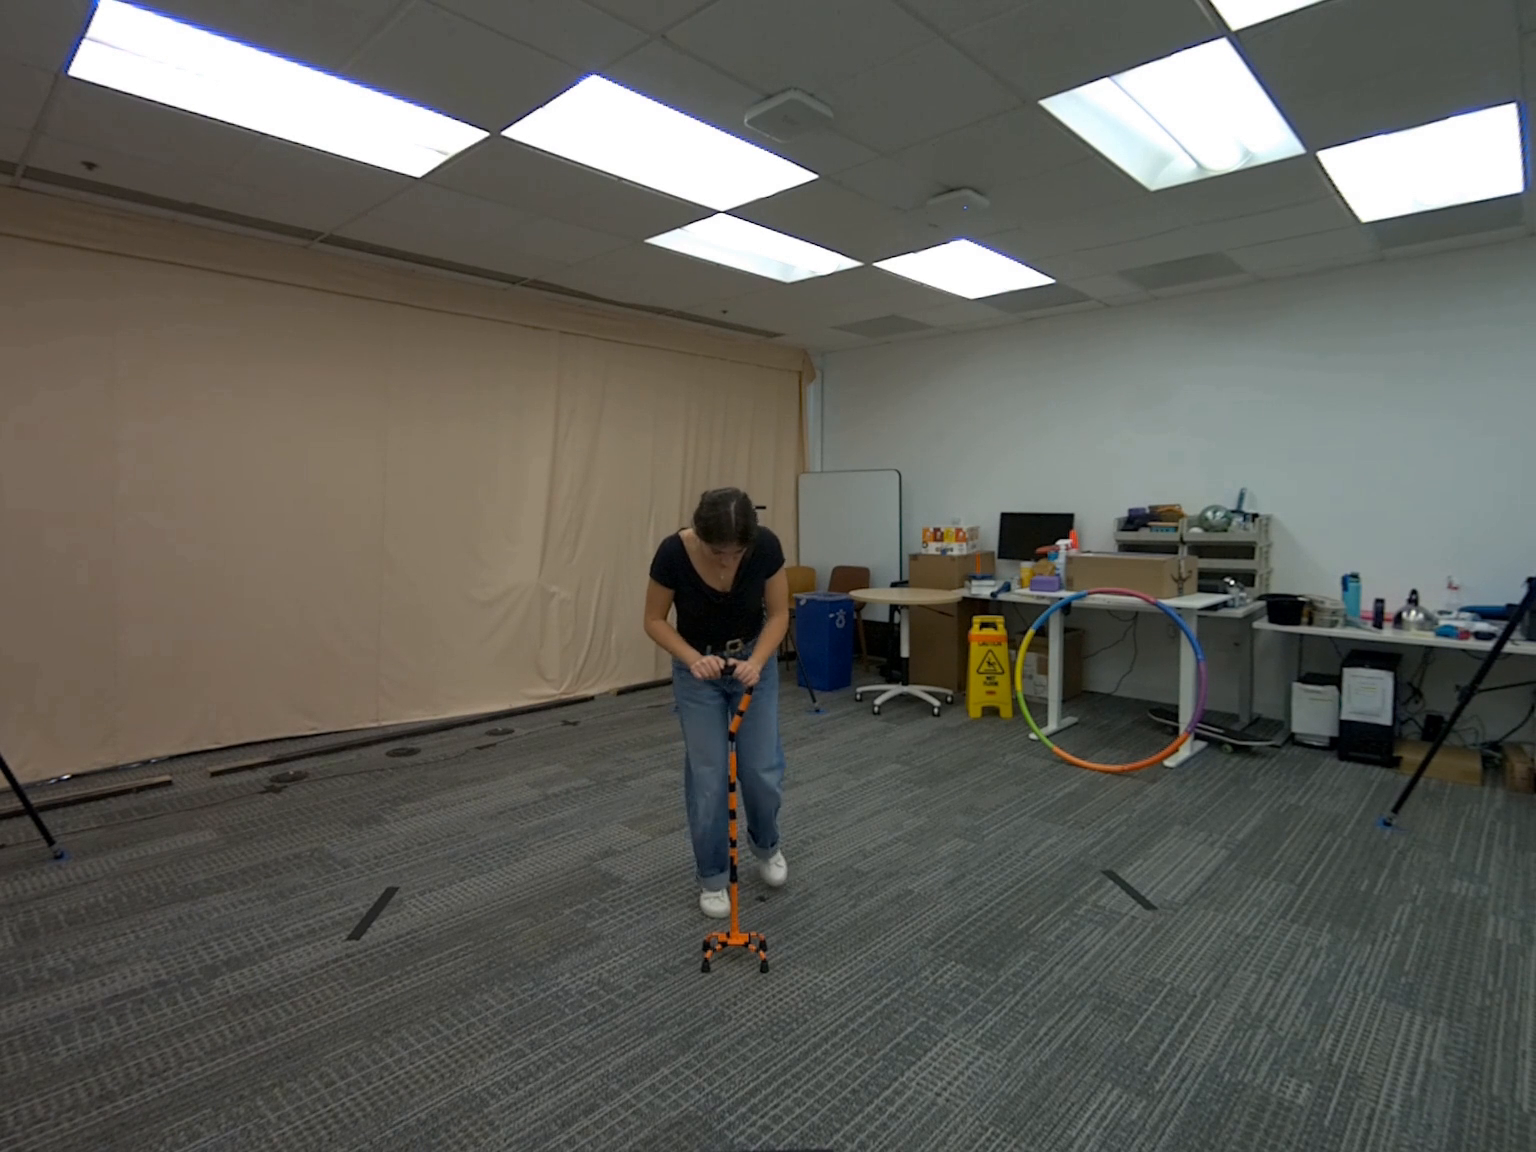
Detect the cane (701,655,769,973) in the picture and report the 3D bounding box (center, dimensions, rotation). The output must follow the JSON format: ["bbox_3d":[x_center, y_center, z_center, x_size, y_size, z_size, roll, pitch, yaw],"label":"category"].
[{"bbox_3d":[-0.102,0.720,2.564,0.207,0.906,0.152,0,3,0],"label":"cane"}]
